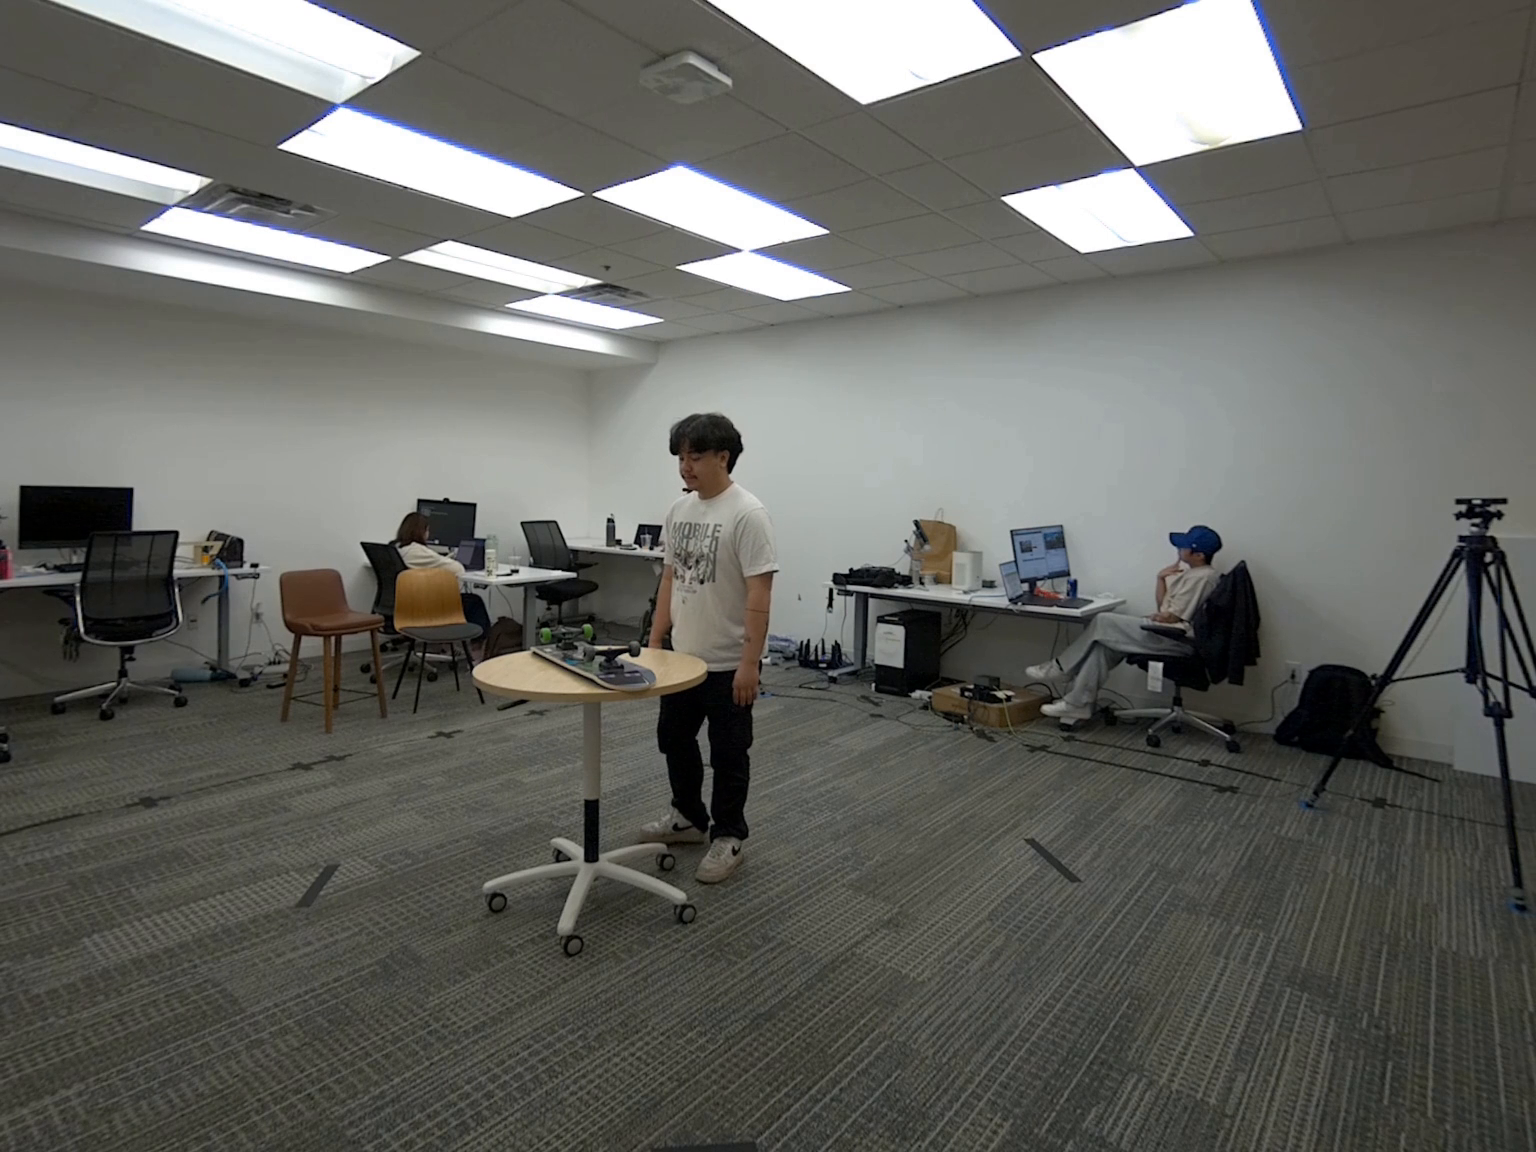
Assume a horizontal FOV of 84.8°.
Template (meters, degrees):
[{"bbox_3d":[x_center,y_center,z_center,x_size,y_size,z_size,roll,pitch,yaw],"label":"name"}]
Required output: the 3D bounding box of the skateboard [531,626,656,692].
[{"bbox_3d":[-0.615,0.249,2.811,0.188,0.110,0.810,-4,7,-33],"label":"skateboard"}]
